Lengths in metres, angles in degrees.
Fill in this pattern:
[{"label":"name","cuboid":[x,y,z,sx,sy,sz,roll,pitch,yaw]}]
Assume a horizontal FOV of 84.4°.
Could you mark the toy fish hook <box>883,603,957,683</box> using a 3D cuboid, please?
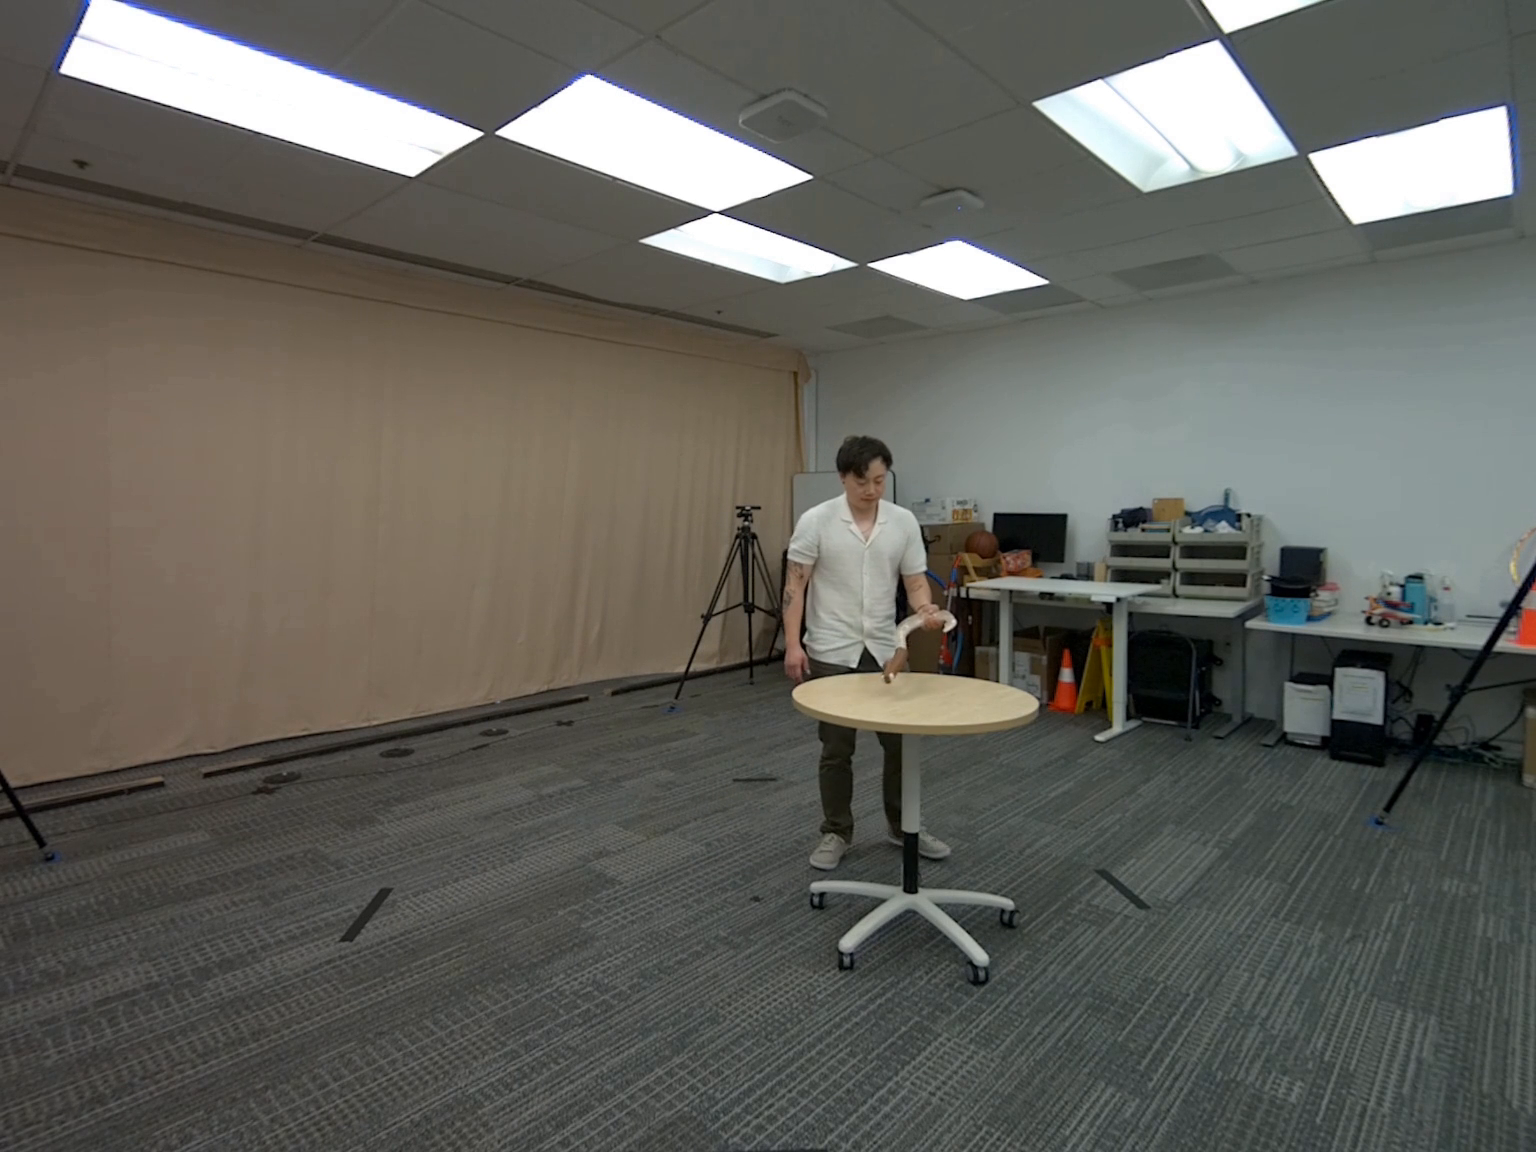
[{"label":"toy fish hook","cuboid":[0.508,0.221,2.832,0.229,0.048,0.502,-18,15,28]}]
